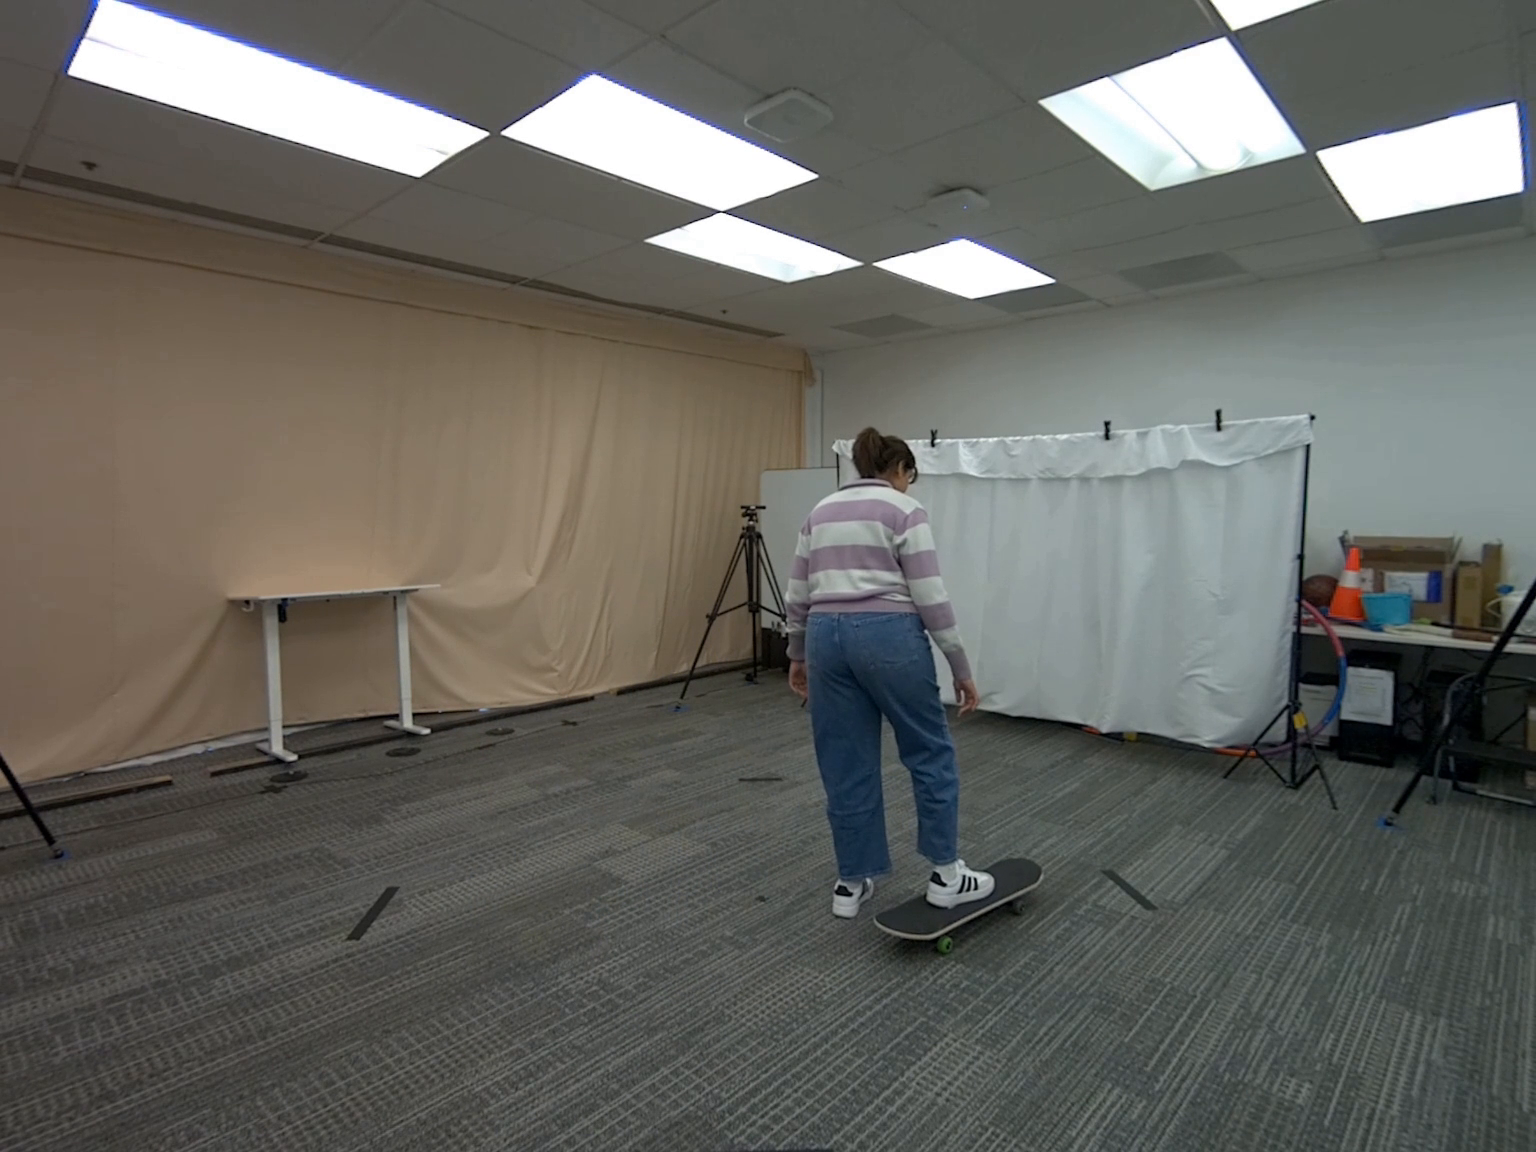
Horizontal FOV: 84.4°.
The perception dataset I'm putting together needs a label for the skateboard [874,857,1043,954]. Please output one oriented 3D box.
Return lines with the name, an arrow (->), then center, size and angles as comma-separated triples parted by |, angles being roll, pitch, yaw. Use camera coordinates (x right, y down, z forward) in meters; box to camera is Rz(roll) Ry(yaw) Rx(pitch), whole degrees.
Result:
skateboard -> 0.649, 1.100, 2.794 | 0.762, 0.110, 0.200 | -4, 5, -38
